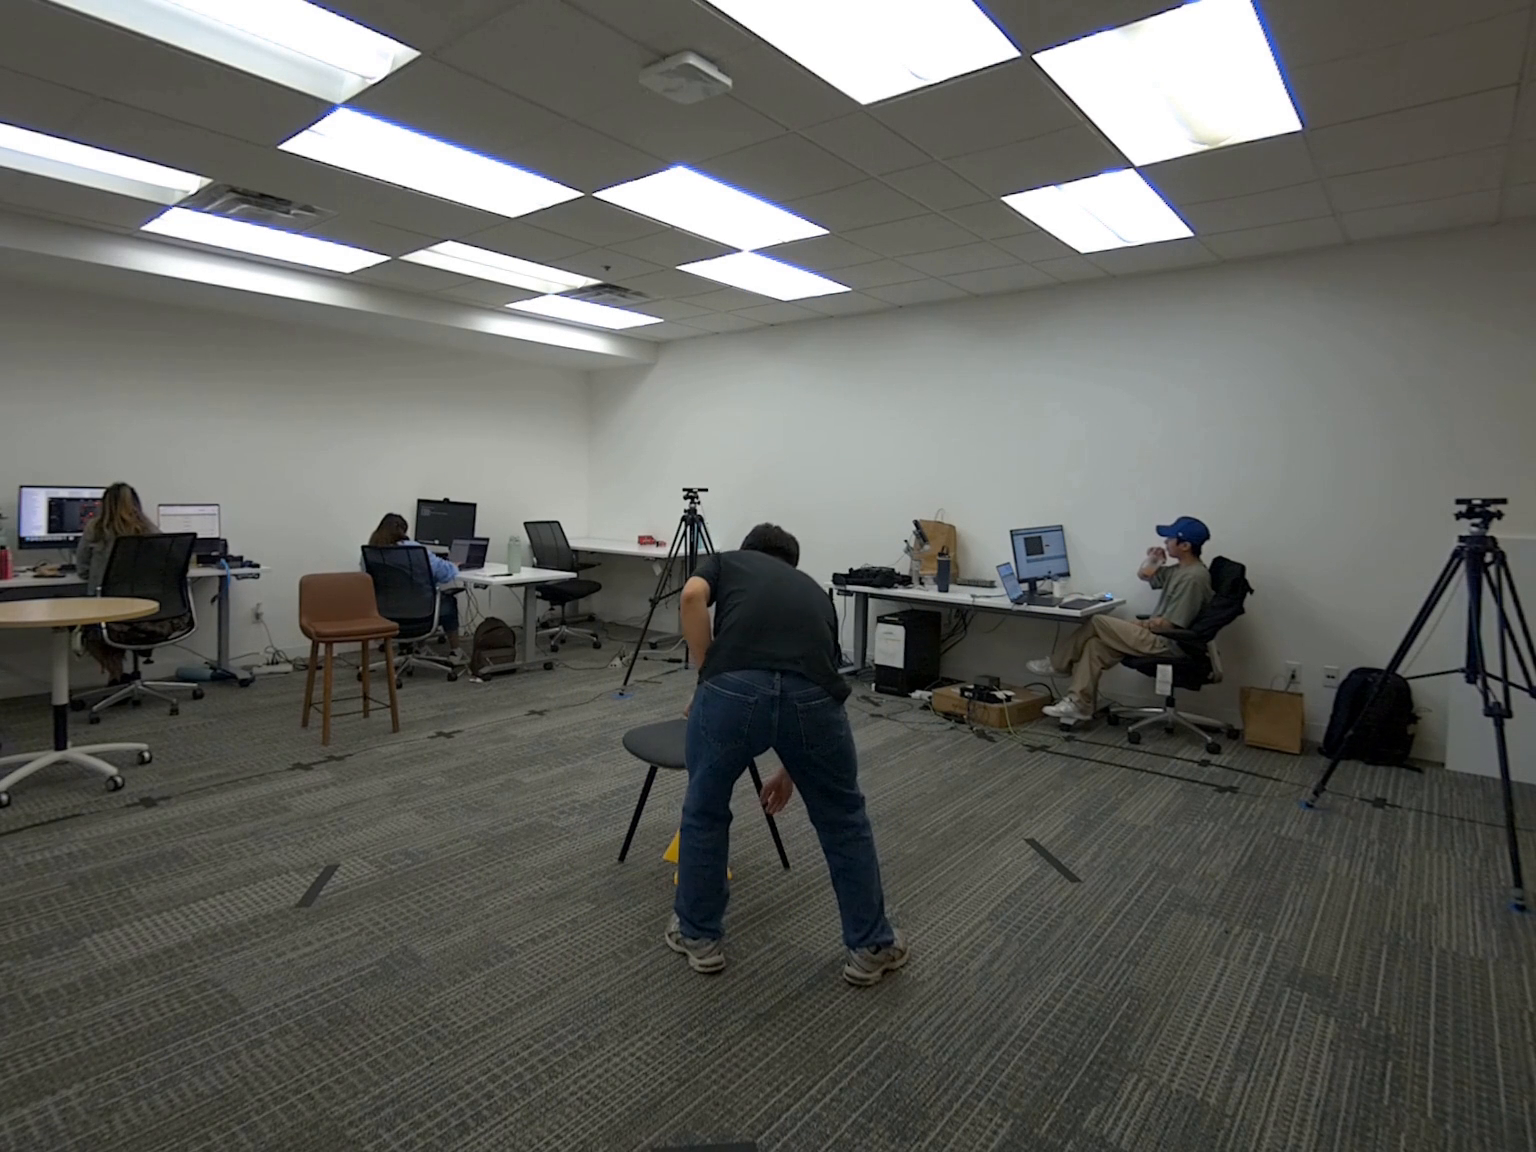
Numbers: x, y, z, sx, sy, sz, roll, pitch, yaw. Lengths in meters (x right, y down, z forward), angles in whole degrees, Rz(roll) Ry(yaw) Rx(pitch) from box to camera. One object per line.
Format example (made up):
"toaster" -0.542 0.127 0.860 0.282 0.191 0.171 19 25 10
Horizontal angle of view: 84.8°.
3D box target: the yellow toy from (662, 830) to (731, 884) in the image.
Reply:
"yellow toy" -0.242 0.952 3.035 0.199 0.230 0.198 5 4 38
